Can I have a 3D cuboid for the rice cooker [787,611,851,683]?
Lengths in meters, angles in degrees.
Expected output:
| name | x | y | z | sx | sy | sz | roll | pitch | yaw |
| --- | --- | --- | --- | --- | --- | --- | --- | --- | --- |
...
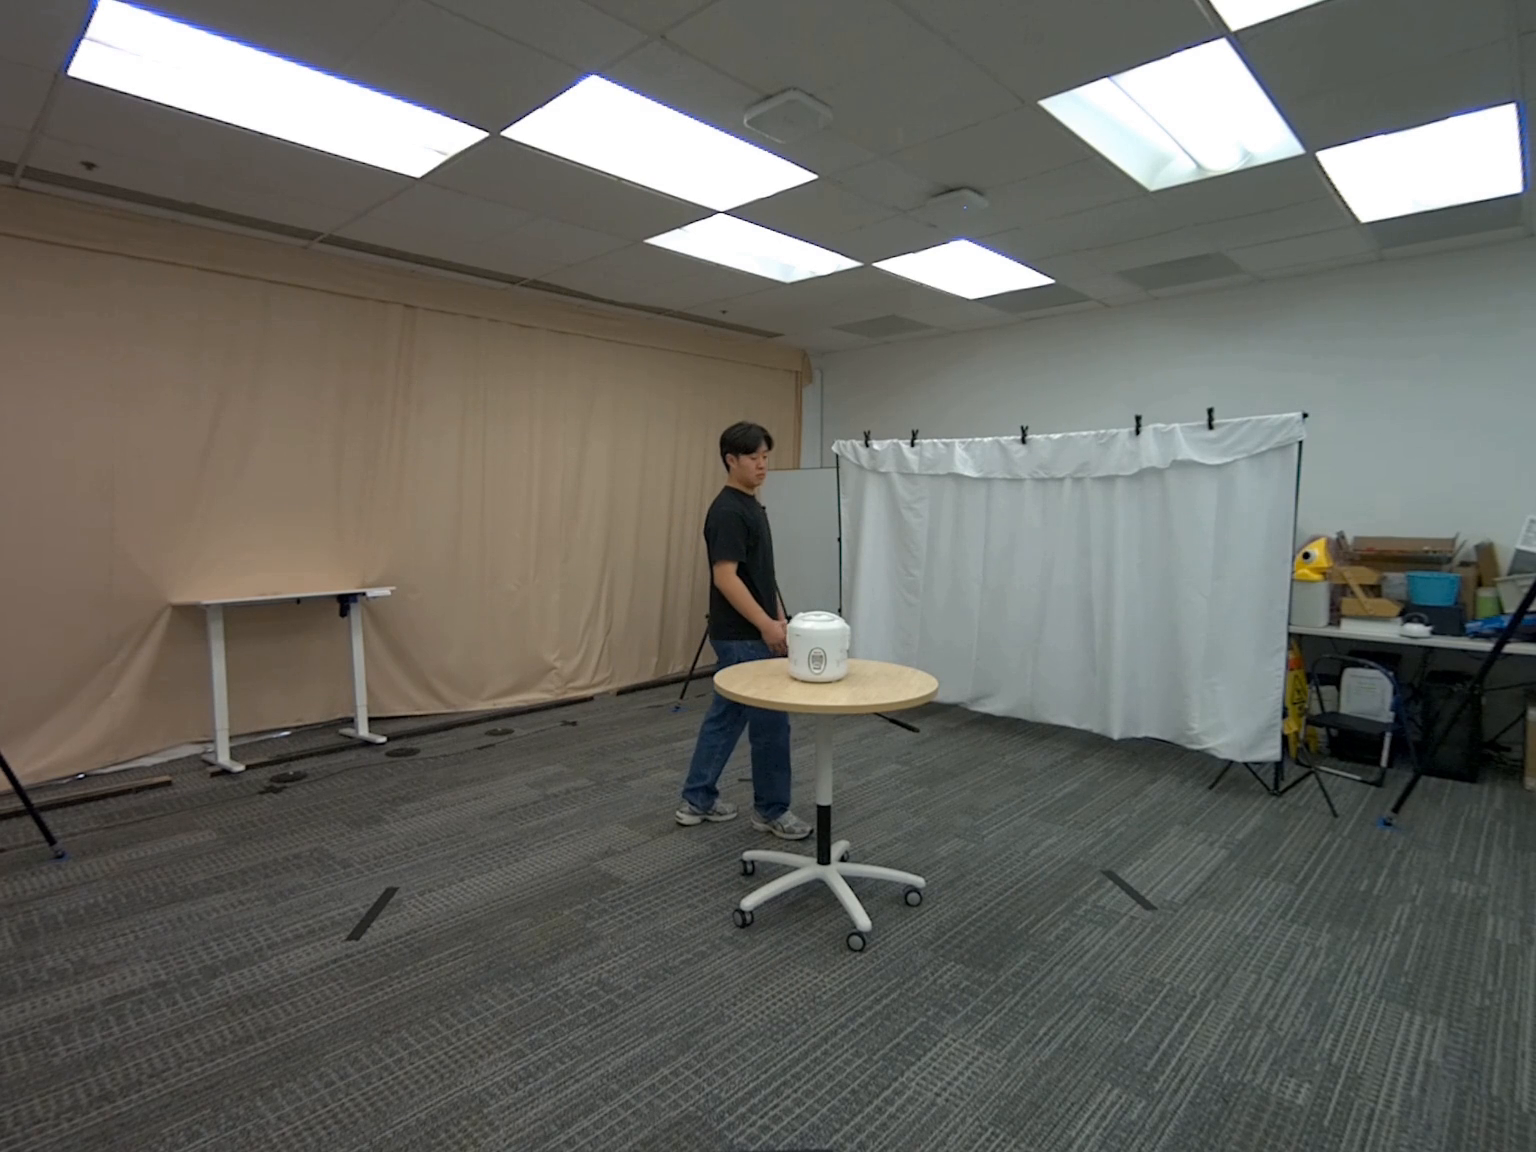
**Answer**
| name | x | y | z | sx | sy | sz | roll | pitch | yaw |
| --- | --- | --- | --- | --- | --- | --- | --- | --- | --- |
| rice cooker | 0.177 | 0.236 | 2.910 | 0.222 | 0.232 | 0.216 | 1 | 3 | 6 |
